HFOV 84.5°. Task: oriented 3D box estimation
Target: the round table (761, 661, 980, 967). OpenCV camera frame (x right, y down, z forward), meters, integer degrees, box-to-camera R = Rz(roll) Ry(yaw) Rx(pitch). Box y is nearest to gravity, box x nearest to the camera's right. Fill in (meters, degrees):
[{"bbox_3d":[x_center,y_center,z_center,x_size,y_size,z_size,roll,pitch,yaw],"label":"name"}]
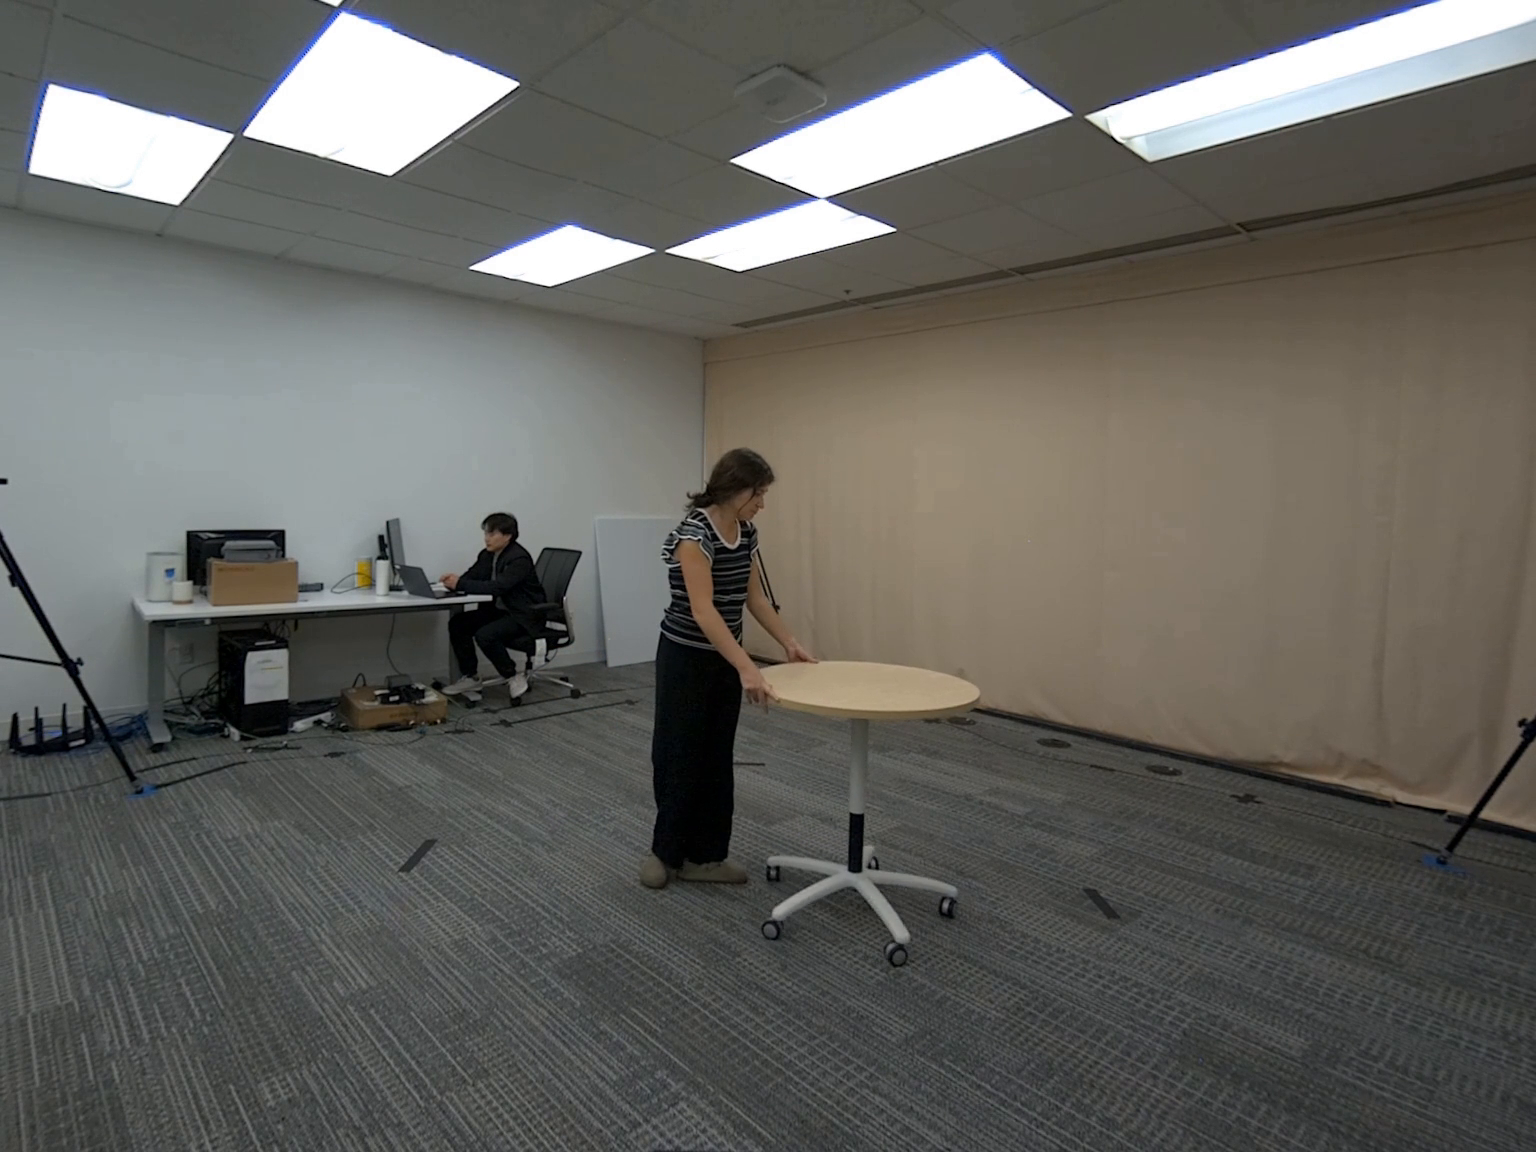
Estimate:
[{"bbox_3d":[0.285,0.742,2.857,0.784,0.784,0.788,2,4,-1],"label":"round table"}]
